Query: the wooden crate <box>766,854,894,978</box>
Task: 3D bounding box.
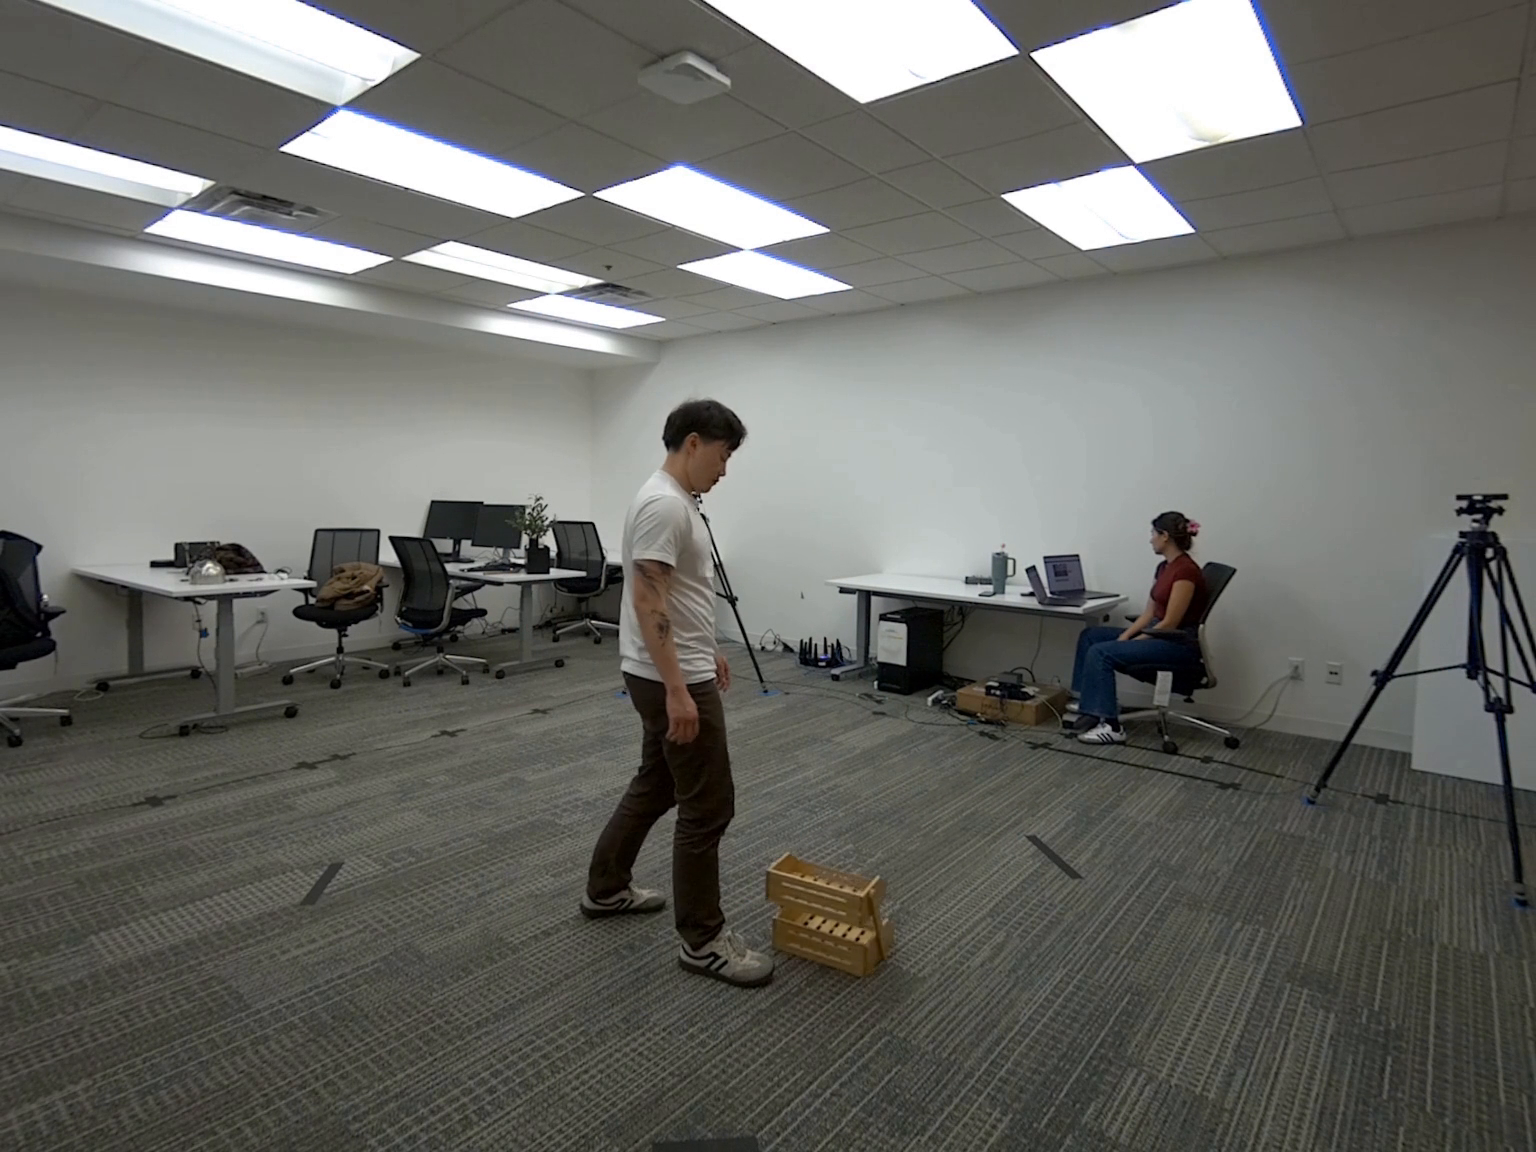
[{"bbox_3d":[0.172,0.991,2.567,0.333,0.272,0.295,4,6,27],"label":"wooden crate"}]
